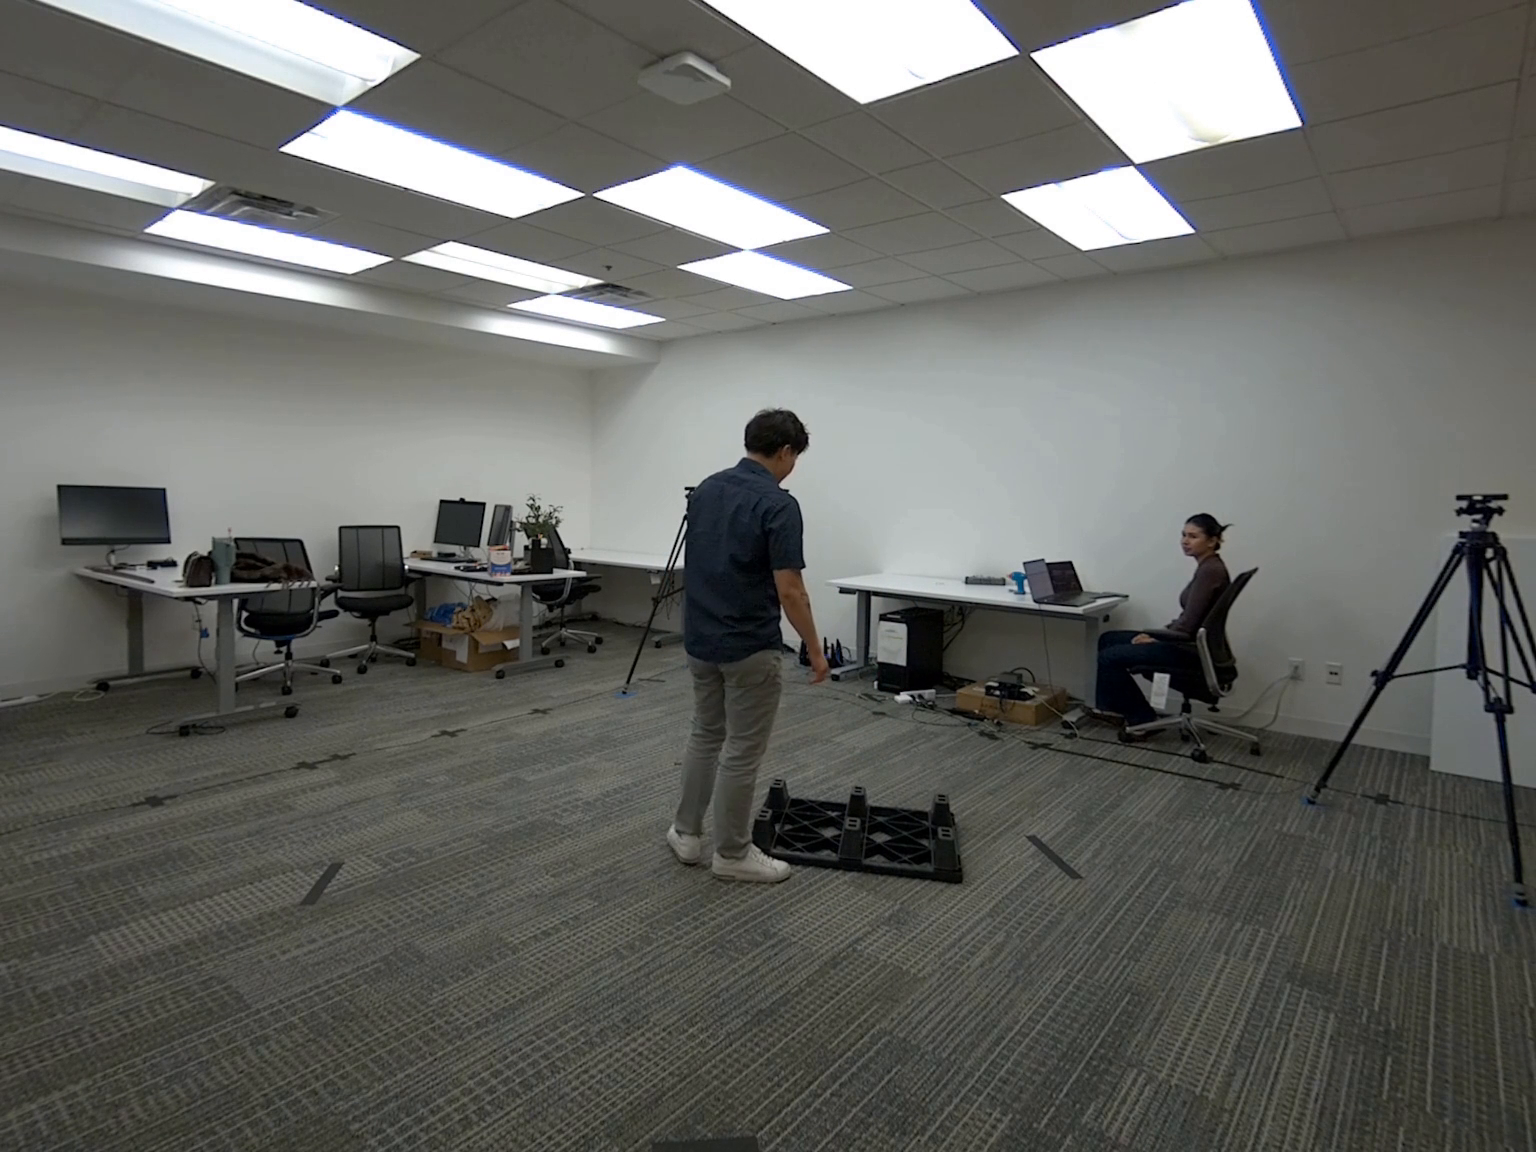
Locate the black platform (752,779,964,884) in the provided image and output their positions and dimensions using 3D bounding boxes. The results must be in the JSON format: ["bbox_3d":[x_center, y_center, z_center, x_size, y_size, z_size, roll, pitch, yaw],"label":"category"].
[{"bbox_3d":[0.344,0.980,3.399,0.816,0.143,0.600,2,6,11],"label":"black platform"}]
